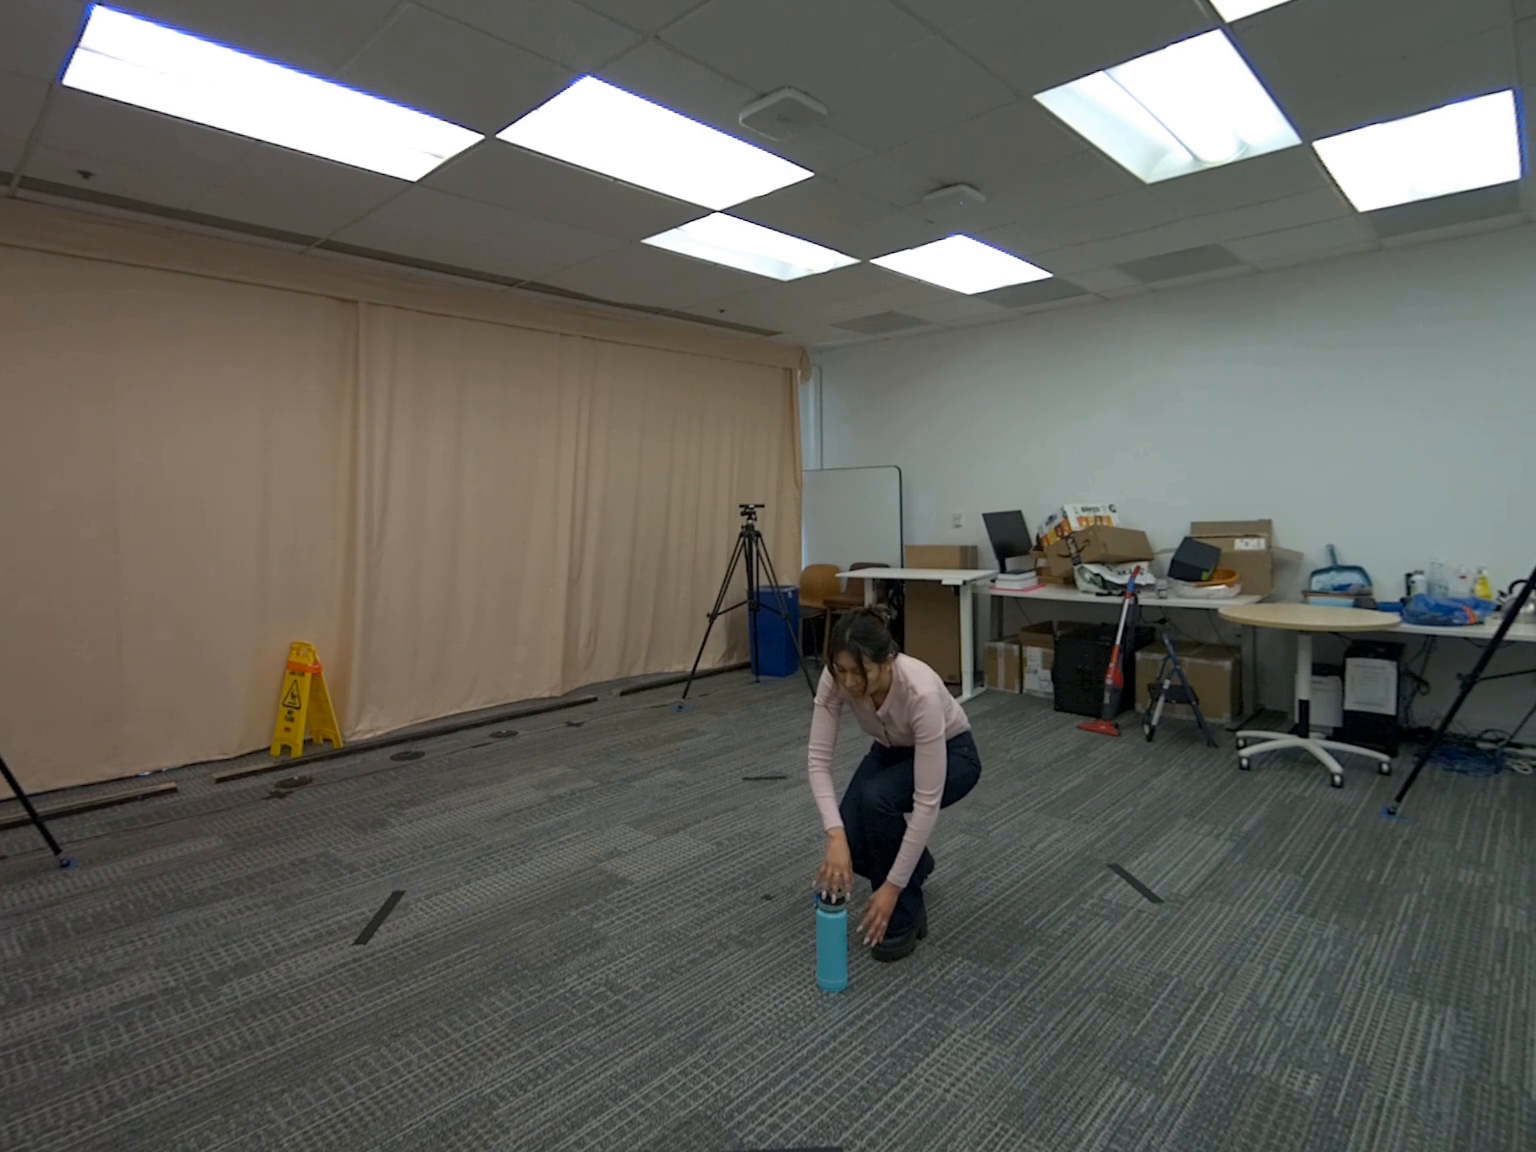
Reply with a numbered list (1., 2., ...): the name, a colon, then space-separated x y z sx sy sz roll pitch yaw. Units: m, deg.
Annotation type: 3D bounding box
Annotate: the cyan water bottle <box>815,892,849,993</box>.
1. cyan water bottle: 0.191 1.046 2.428 0.092 0.283 0.092 -1 2 -2
